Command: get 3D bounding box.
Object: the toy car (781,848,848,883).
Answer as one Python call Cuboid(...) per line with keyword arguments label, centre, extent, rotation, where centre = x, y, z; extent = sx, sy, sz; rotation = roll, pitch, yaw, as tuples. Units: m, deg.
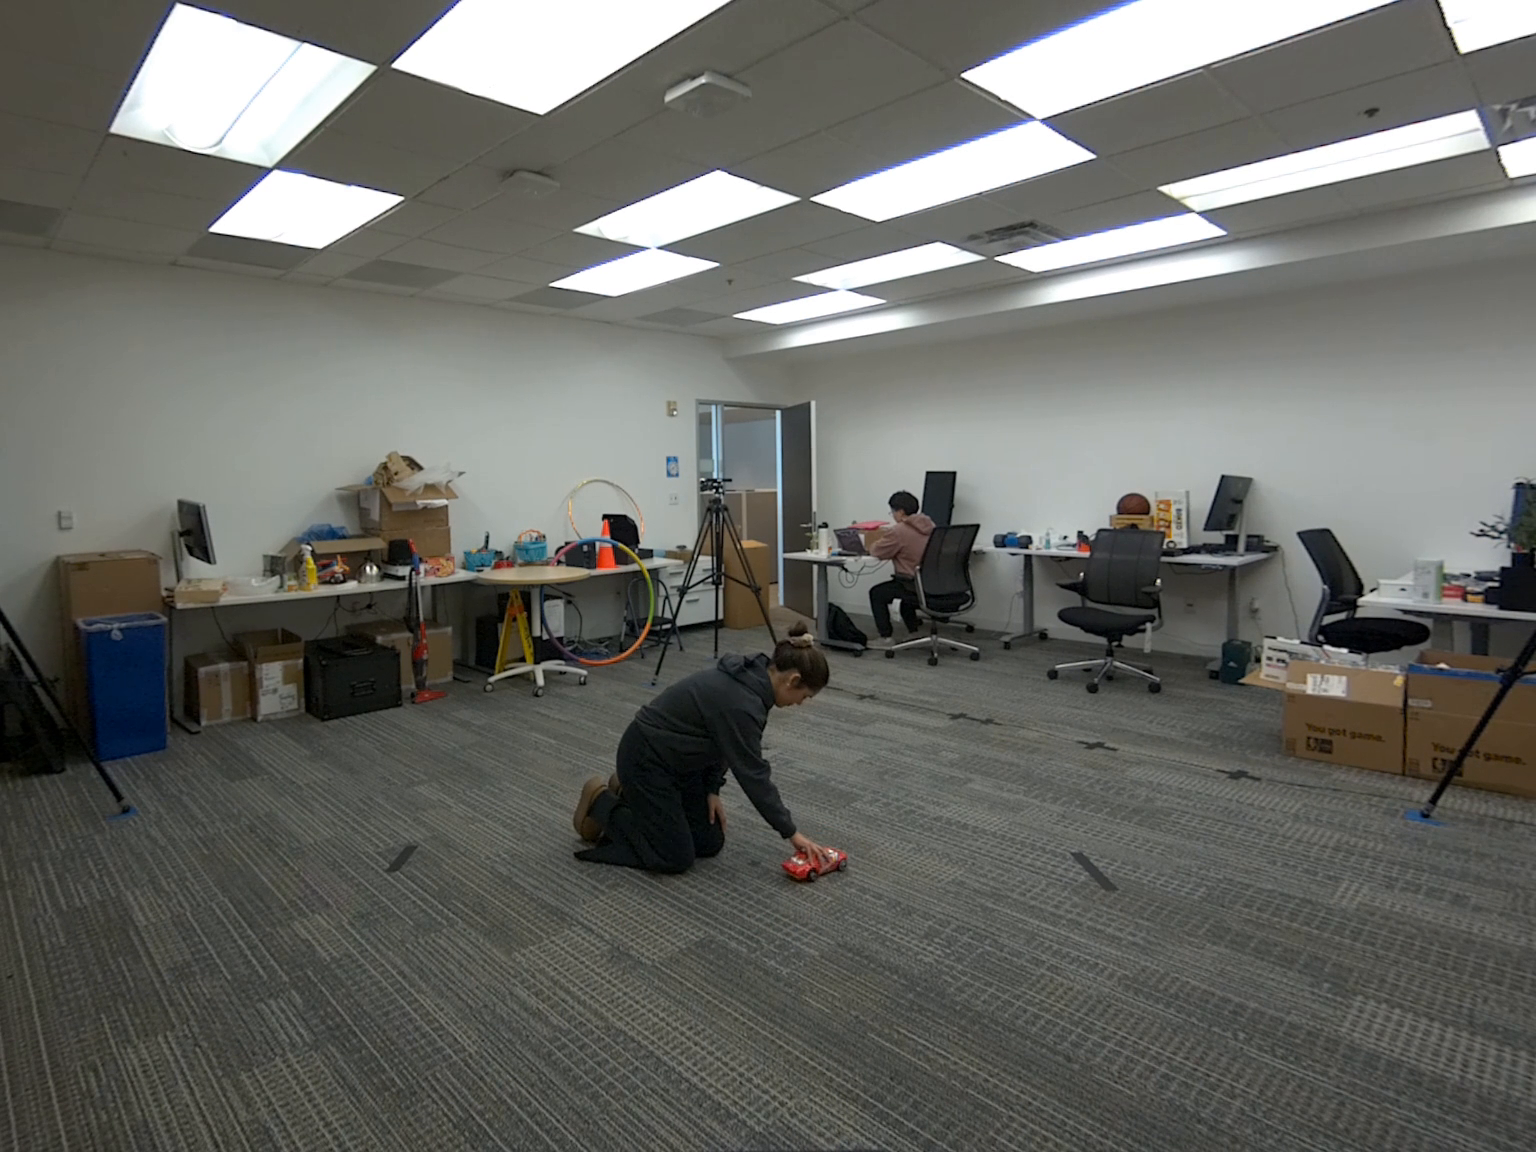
Cuboid(label="toy car", centre=(0.156, 1.016, 3.002), extent=(0.247, 0.083, 0.134), rotation=(8, 0, -35))
